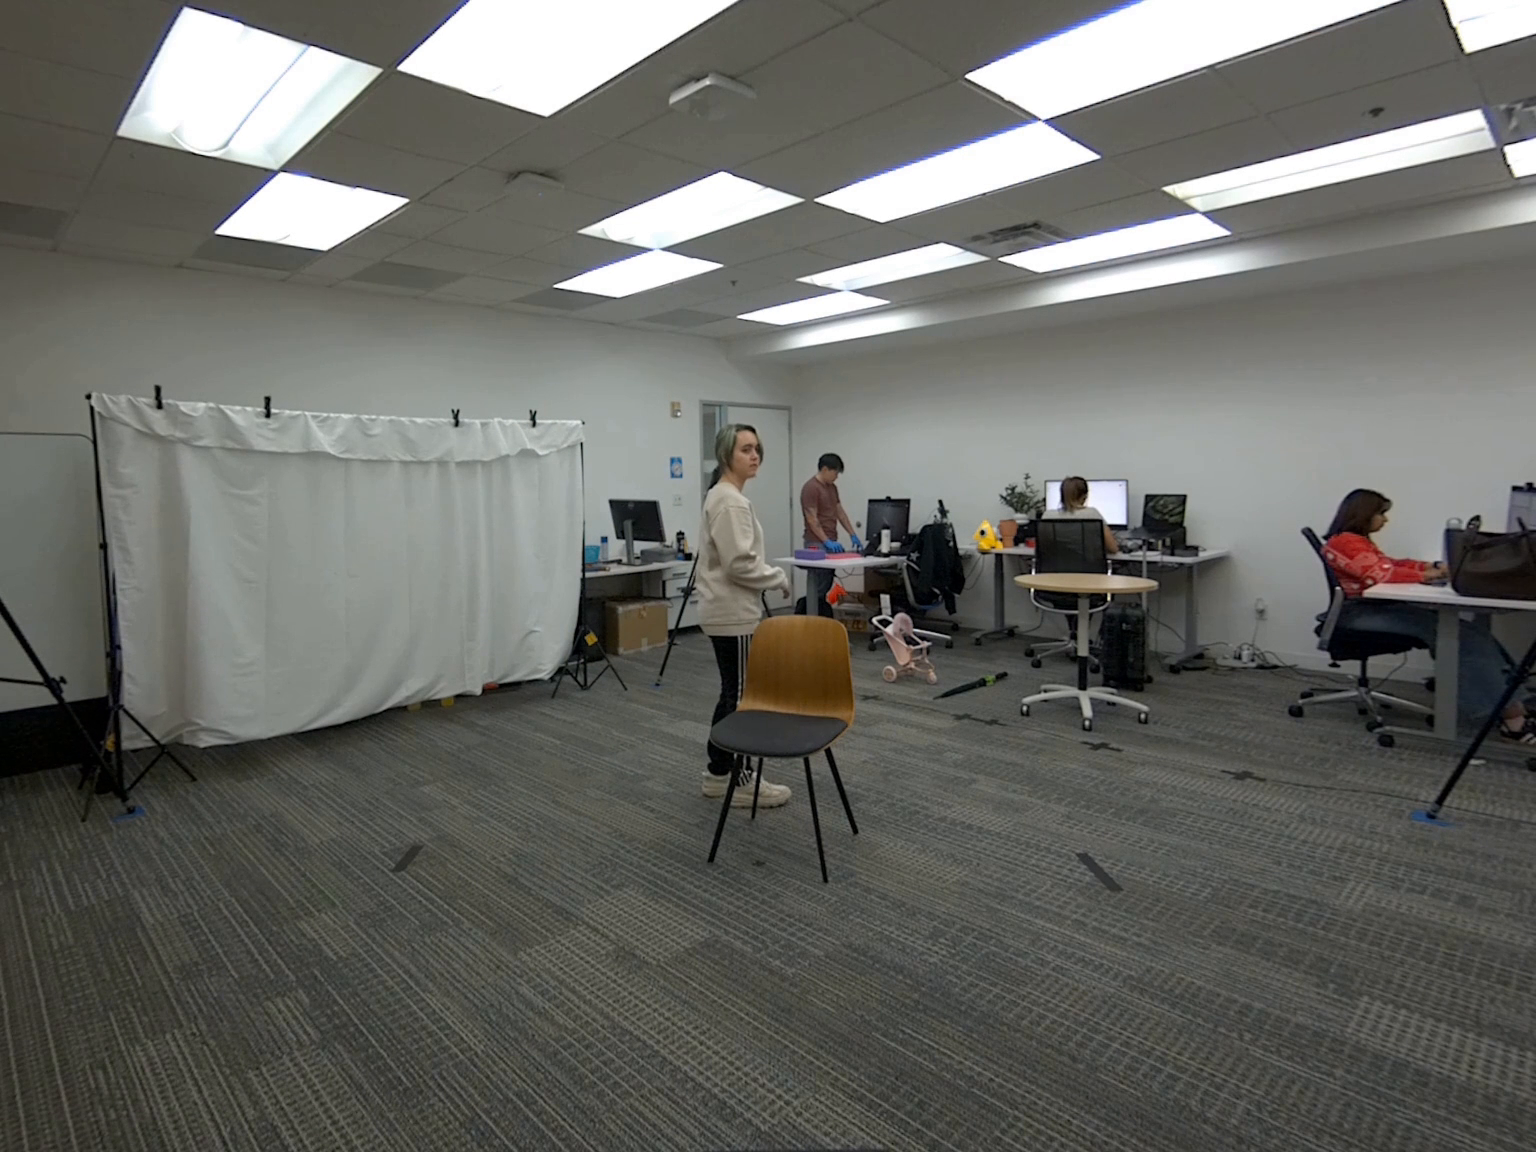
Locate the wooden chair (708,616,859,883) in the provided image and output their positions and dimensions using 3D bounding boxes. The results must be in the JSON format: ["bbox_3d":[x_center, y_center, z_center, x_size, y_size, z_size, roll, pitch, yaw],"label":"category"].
[{"bbox_3d":[0.061,0.608,3.197,0.488,0.878,0.512,0,0,22],"label":"wooden chair"}]
